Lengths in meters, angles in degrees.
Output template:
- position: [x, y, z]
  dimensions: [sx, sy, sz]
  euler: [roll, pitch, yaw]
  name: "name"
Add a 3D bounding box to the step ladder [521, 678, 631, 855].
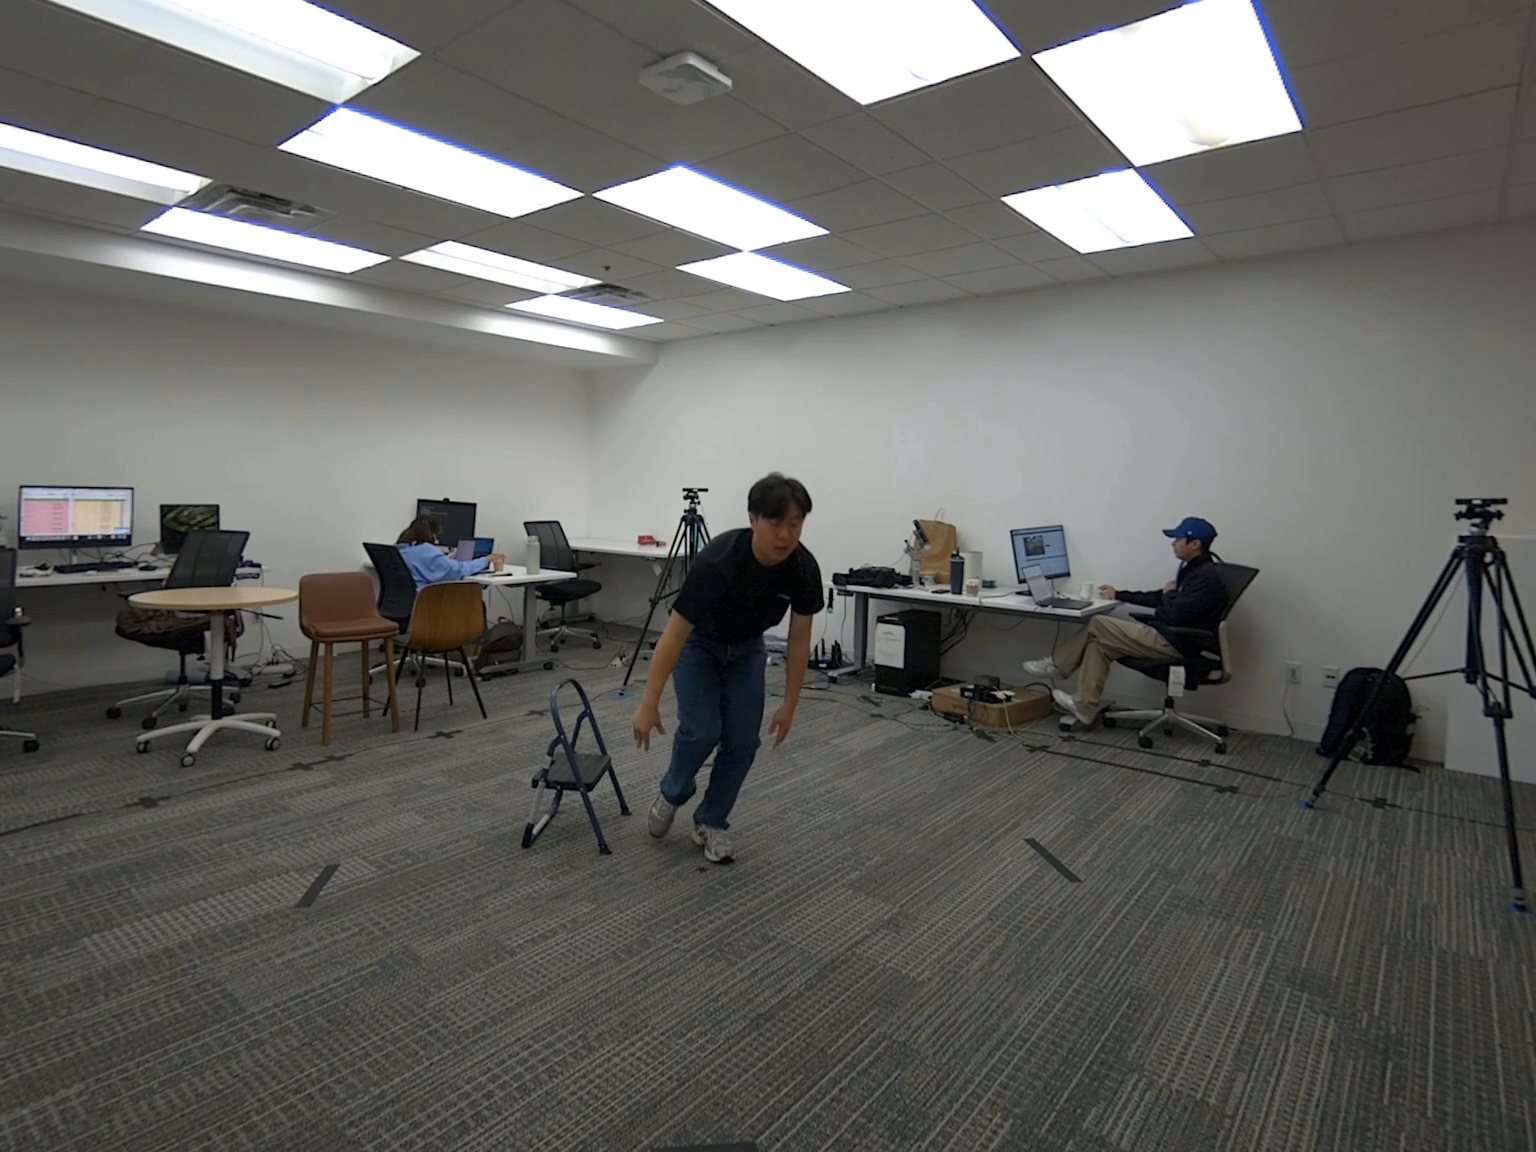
- position: [-0.775, 0.728, 3.437]
  dimensions: [0.351, 0.605, 0.430]
  euler: [1, 3, 2]
  name: "step ladder"
